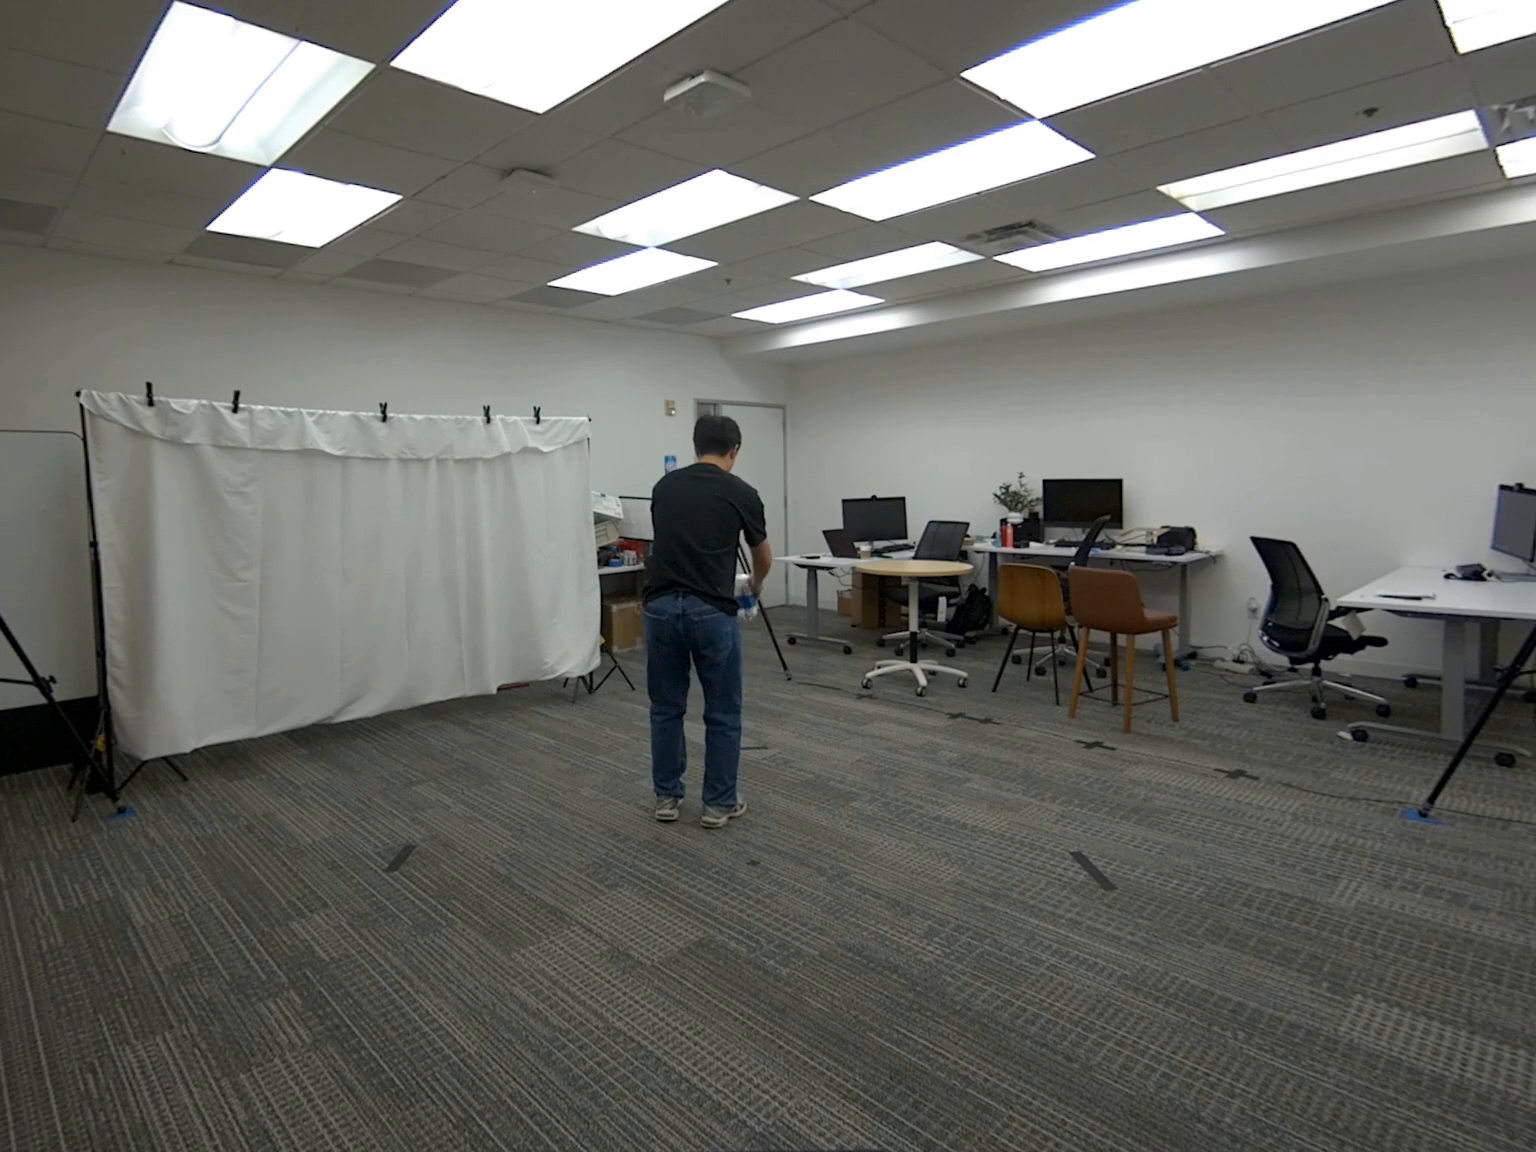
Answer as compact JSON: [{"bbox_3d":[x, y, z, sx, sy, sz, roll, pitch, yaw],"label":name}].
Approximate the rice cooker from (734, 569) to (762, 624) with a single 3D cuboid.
[{"bbox_3d":[-0.166,0.095,3.916,0.219,0.234,0.217,-5,-4,10],"label":"rice cooker"}]
